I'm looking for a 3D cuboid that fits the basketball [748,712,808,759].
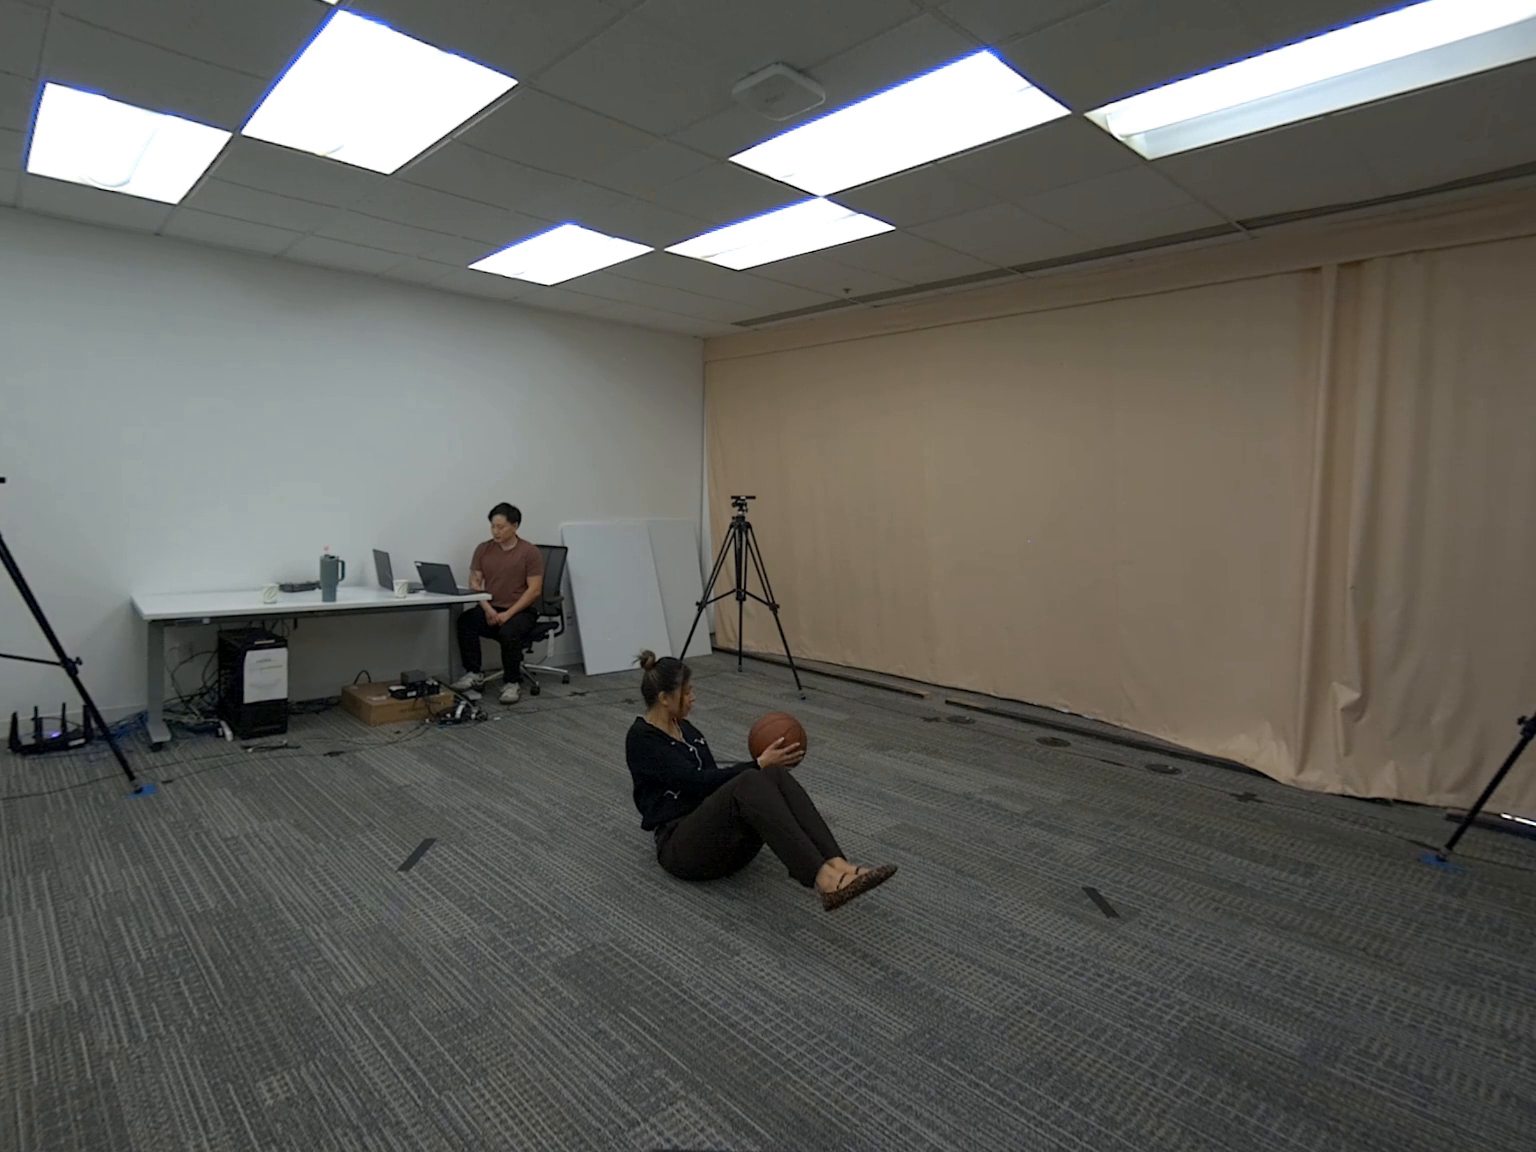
[{"bbox_3d":[0.024,0.661,3.332,0.236,0.235,0.237,1,4,-1],"label":"basketball"}]
